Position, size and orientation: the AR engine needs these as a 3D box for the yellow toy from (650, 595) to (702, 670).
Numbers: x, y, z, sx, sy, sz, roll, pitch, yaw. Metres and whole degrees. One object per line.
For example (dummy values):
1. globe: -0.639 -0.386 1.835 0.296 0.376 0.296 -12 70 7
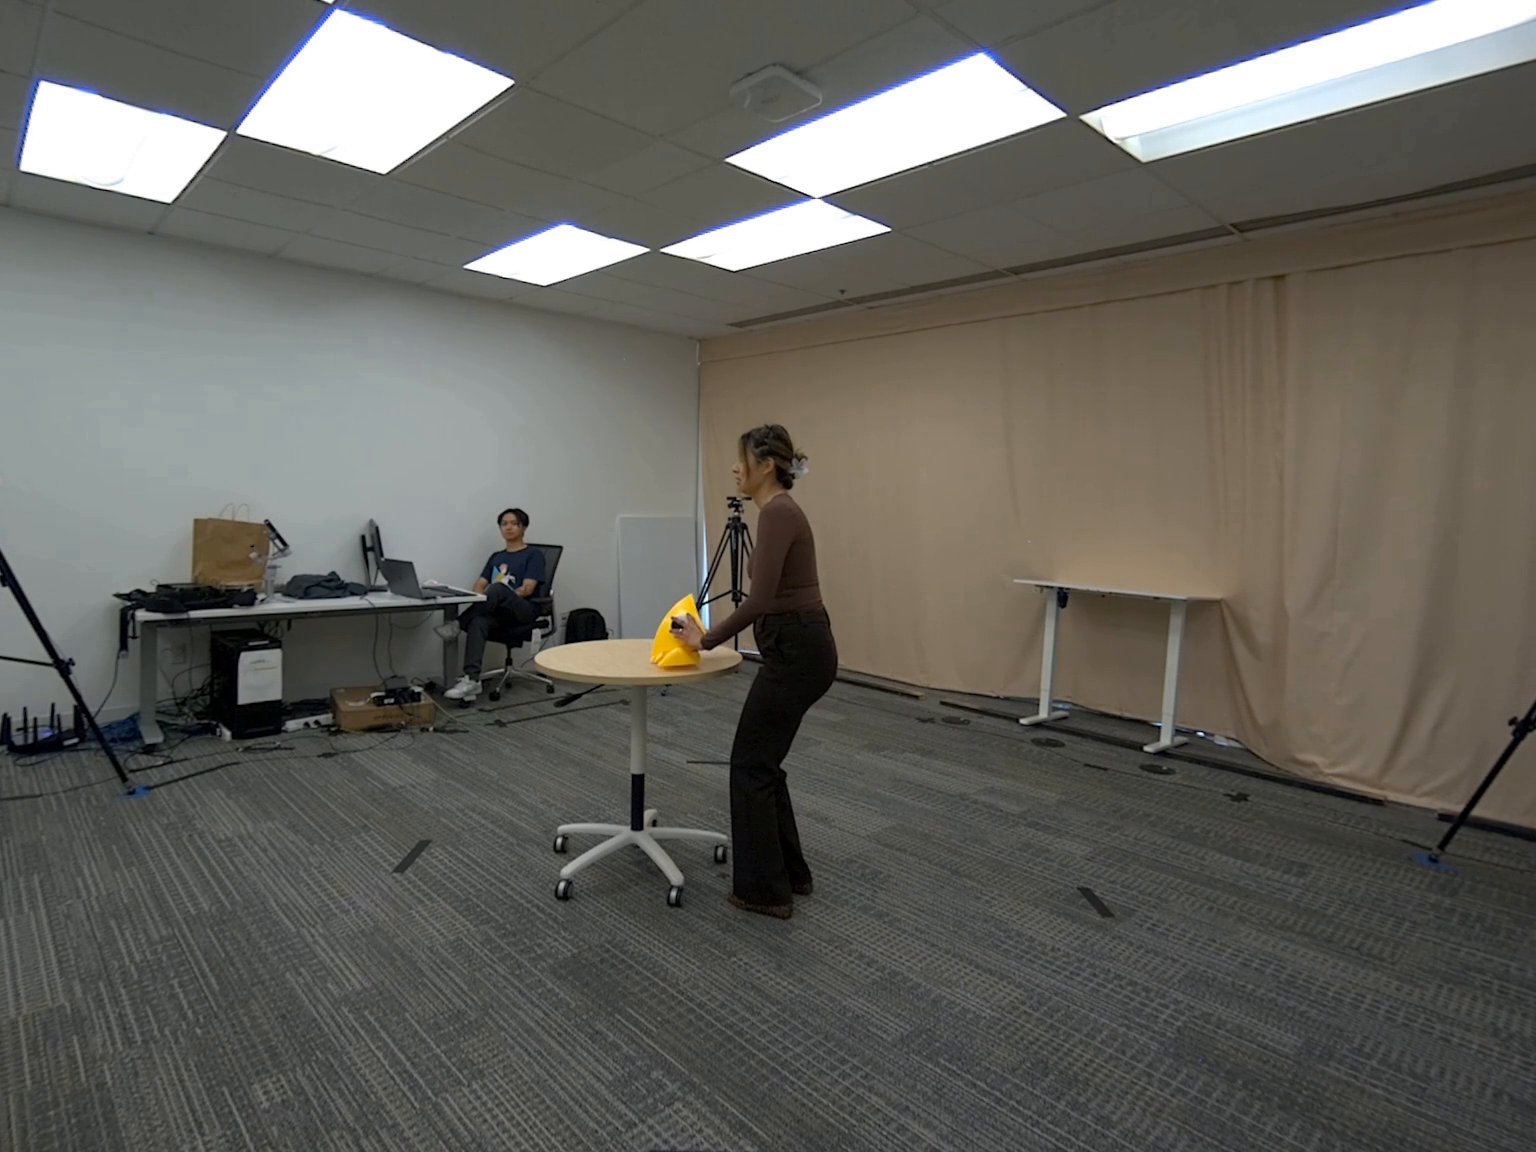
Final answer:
1. yellow toy: -0.320 0.175 2.954 0.190 0.230 0.208 -4 3 -19
